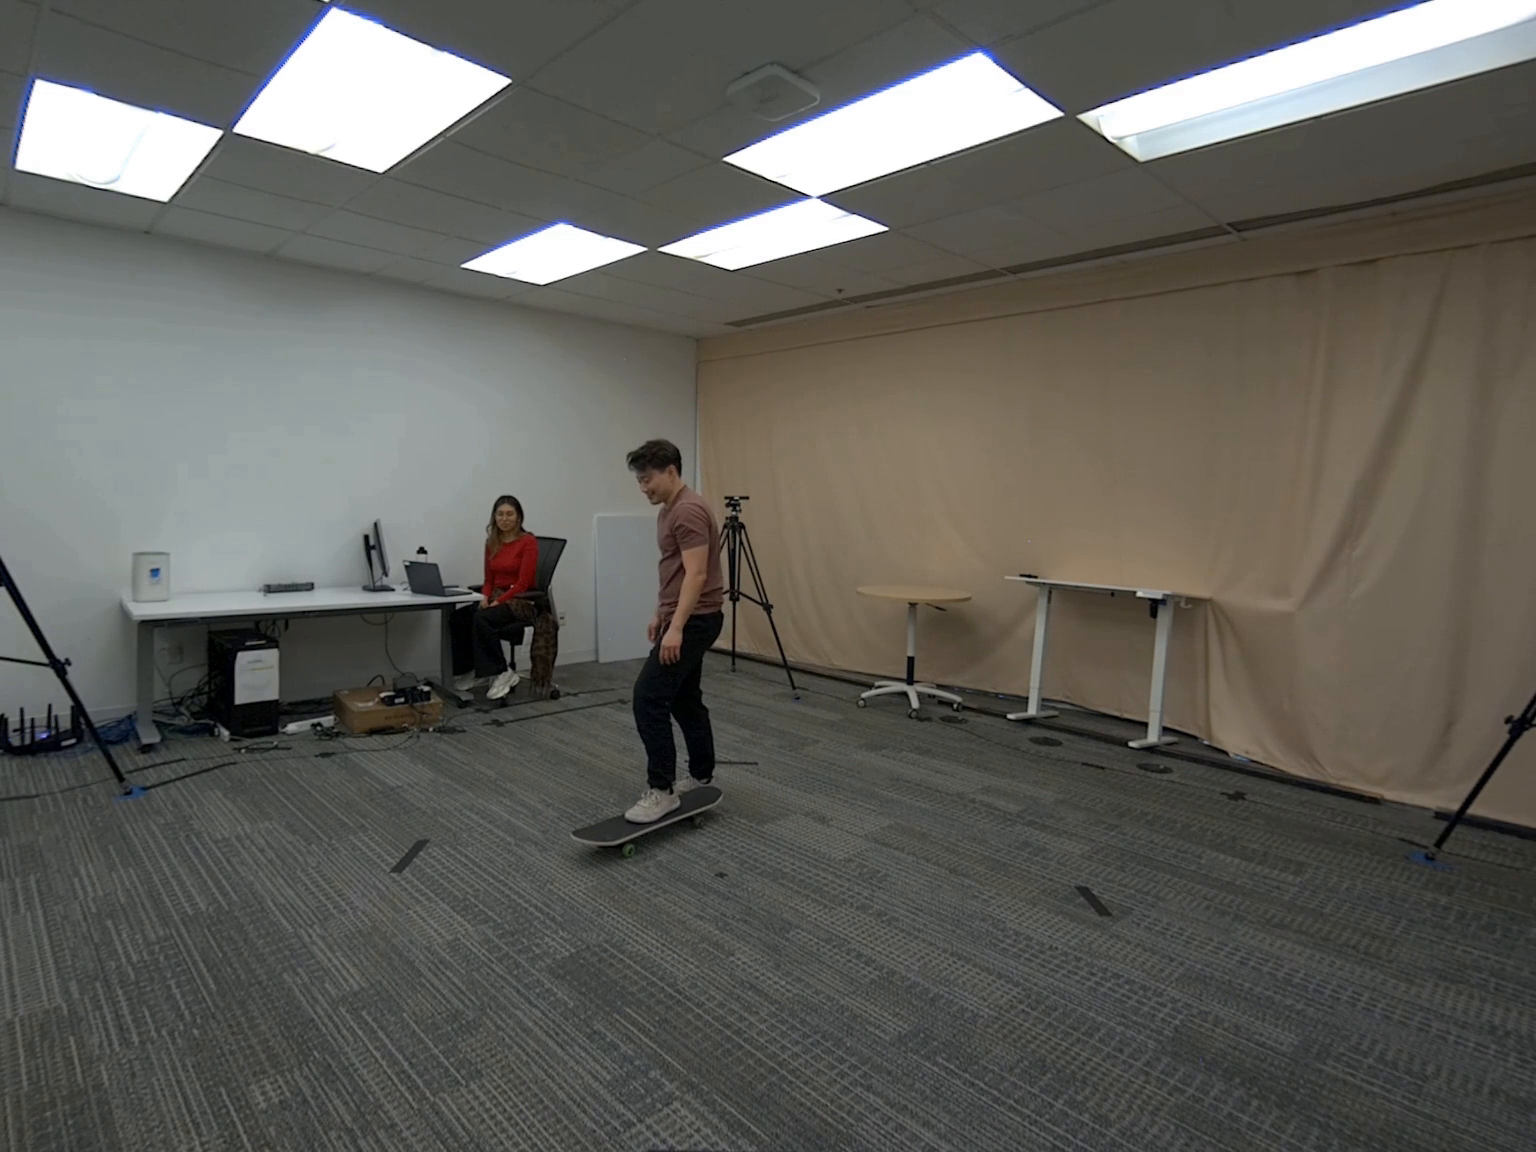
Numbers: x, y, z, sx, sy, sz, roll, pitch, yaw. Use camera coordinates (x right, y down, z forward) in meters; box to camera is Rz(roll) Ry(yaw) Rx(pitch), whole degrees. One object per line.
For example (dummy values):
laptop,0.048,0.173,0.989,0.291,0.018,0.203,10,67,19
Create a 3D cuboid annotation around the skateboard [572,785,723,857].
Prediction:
skateboard,-0.484,1.009,3.446,0.198,0.110,0.768,3,5,38
